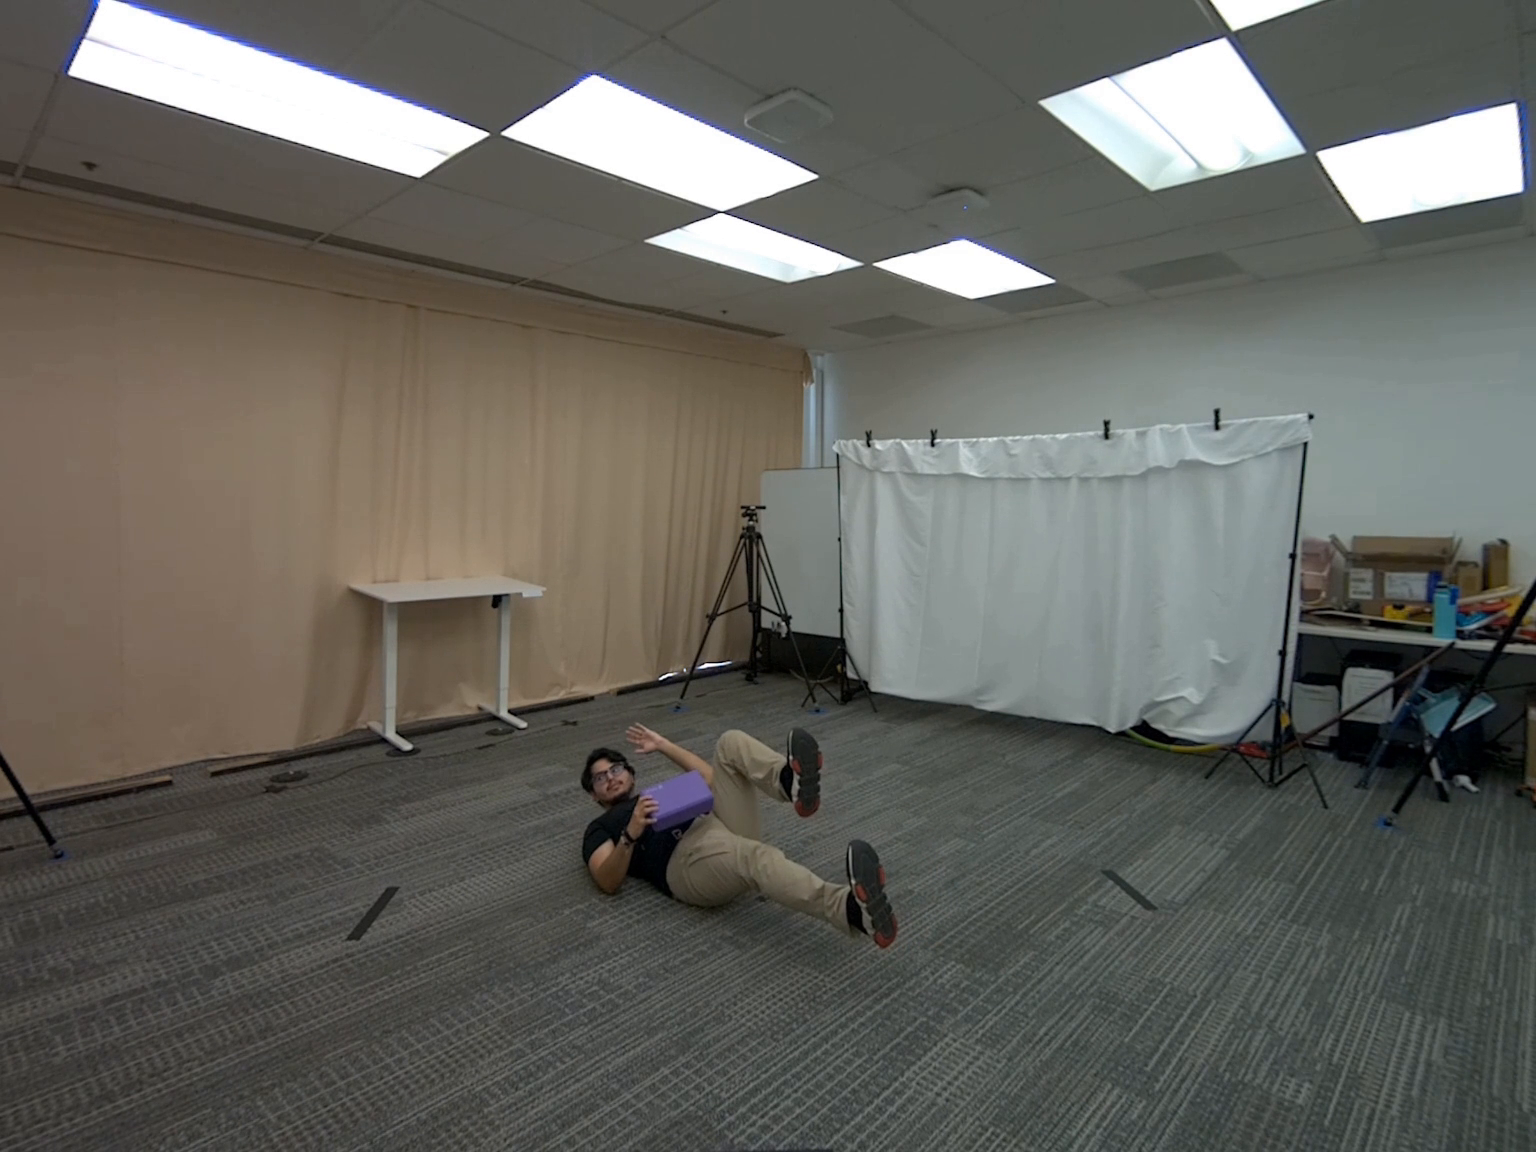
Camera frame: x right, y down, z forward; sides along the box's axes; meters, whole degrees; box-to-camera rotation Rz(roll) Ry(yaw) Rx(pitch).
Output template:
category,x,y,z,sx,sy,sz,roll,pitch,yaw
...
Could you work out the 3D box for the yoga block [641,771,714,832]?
category,x,y,z,sx,sy,sz,roll,pitch,yaw
yoga block,-0.322,0.798,2.960,0.225,0.075,0.154,-12,35,-21
